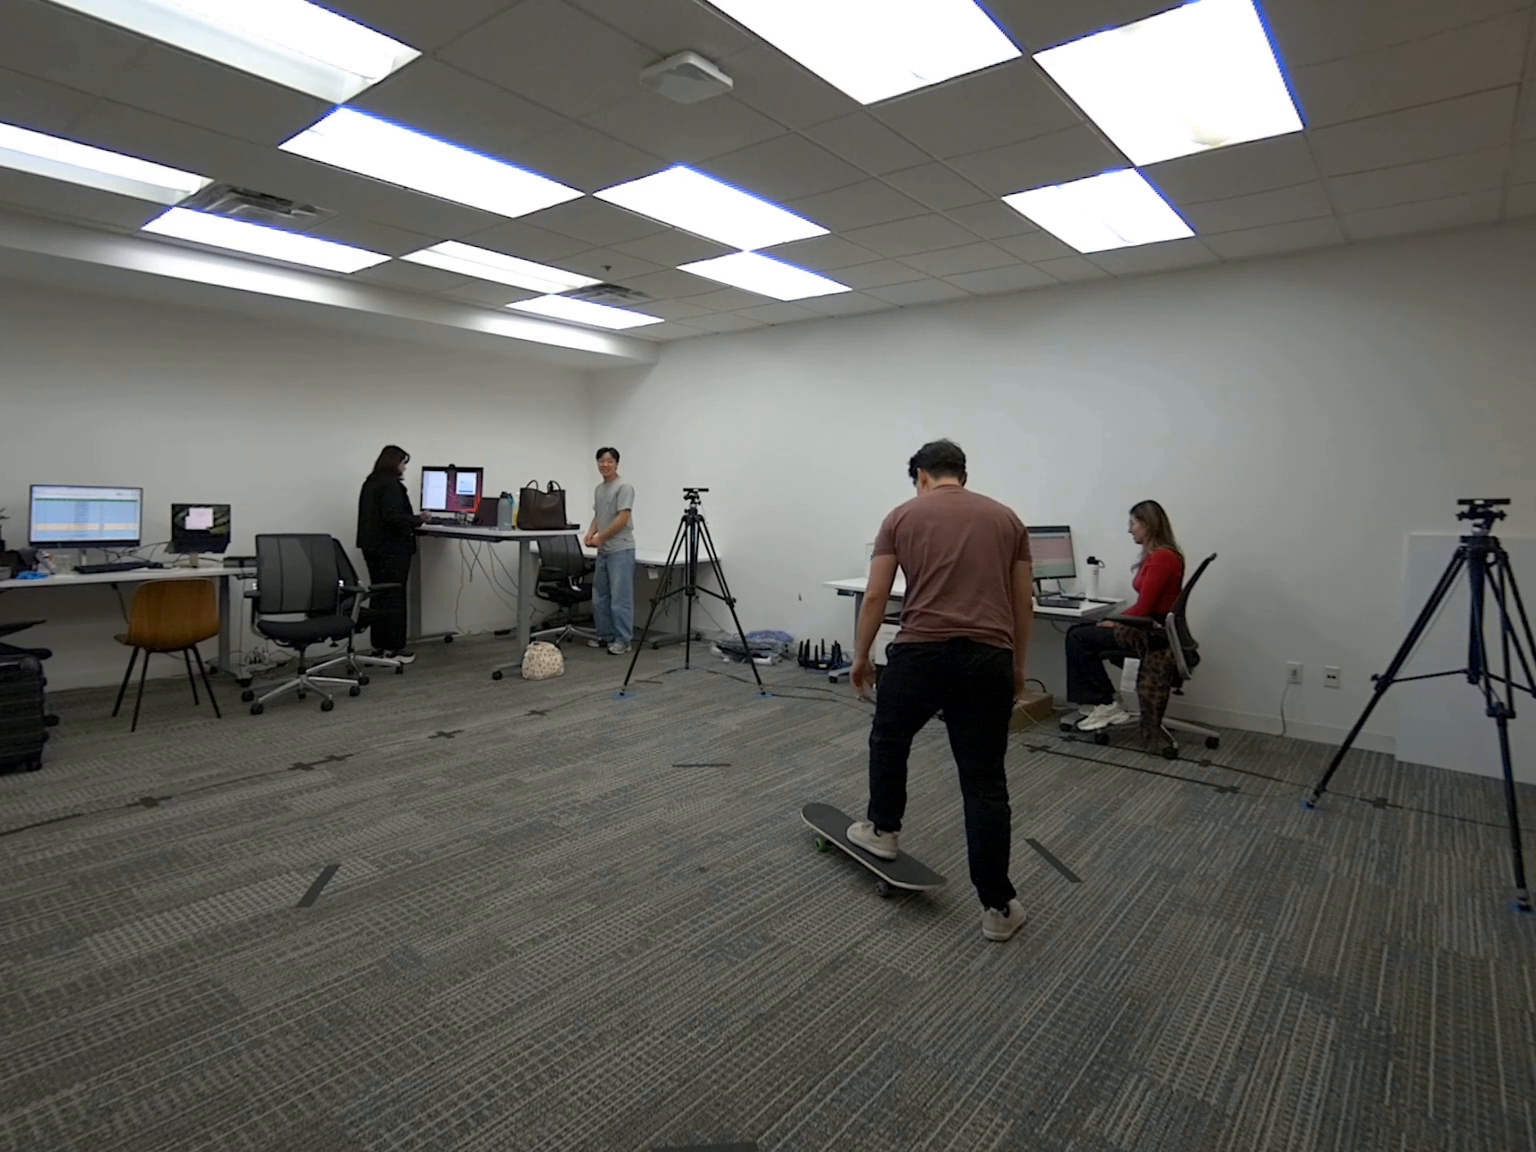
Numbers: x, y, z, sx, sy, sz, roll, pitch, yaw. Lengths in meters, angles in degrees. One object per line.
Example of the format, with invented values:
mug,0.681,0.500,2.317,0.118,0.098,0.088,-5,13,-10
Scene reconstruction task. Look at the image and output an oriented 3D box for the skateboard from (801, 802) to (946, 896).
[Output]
skateboard,0.359,1.017,3.151,0.188,0.110,0.808,1,5,-28
